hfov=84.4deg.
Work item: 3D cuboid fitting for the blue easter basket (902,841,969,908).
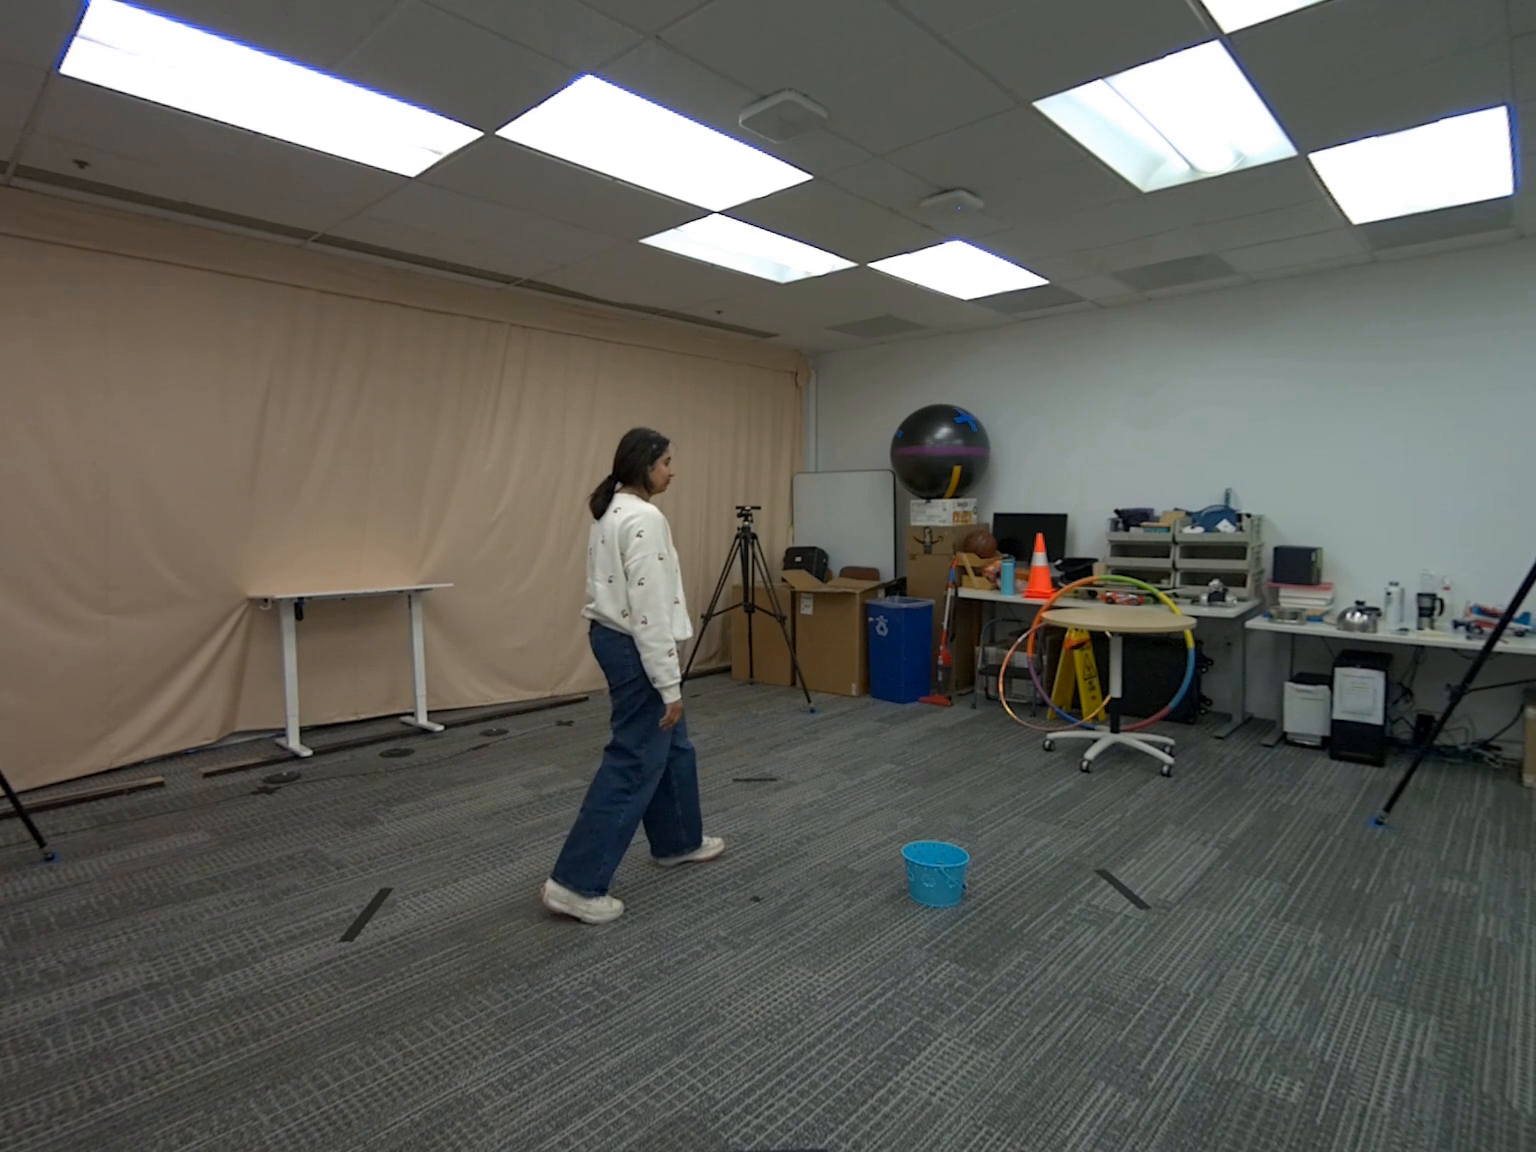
[{"bbox_3d":[0.601,1.063,2.991,0.243,0.155,0.244,-1,4,-2],"label":"blue easter basket"}]
